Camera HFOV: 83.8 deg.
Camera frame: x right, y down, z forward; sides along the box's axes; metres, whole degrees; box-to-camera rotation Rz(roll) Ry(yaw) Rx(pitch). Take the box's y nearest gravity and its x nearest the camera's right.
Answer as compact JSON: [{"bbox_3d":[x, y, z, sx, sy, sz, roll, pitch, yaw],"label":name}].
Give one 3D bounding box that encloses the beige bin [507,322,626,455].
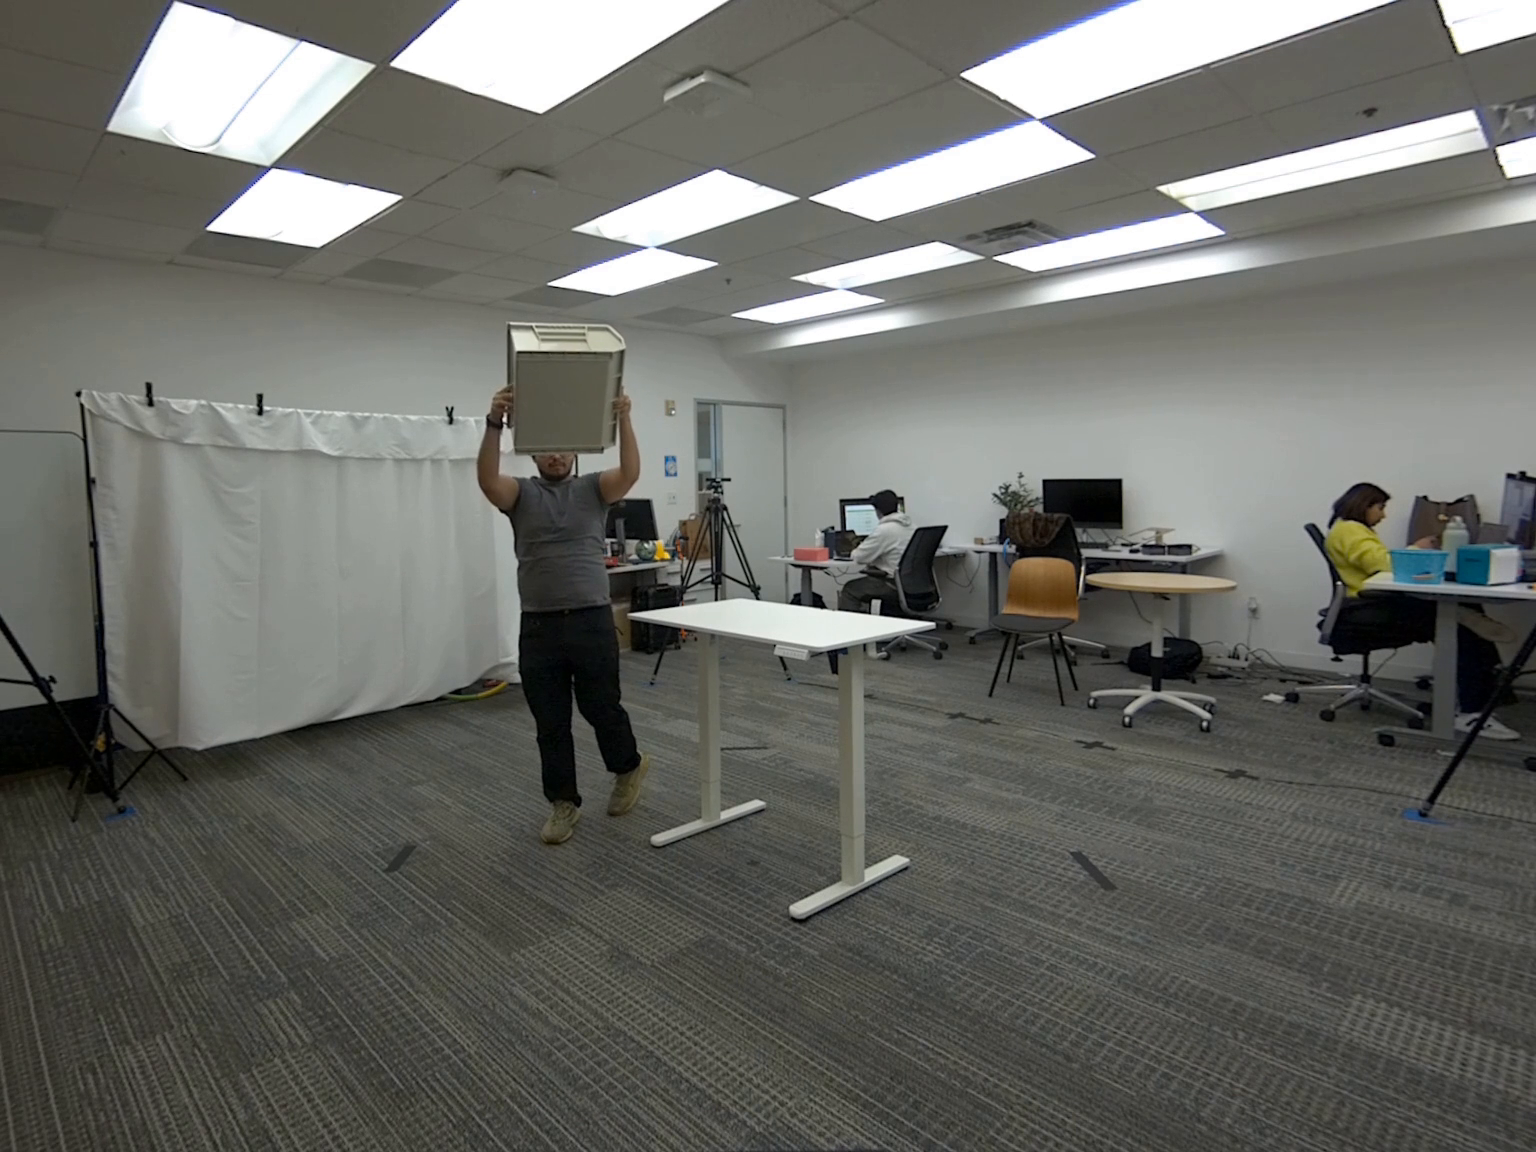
[{"bbox_3d":[-0.704,-0.644,2.972,0.371,0.414,0.196,-4,45,-21],"label":"beige bin"}]
